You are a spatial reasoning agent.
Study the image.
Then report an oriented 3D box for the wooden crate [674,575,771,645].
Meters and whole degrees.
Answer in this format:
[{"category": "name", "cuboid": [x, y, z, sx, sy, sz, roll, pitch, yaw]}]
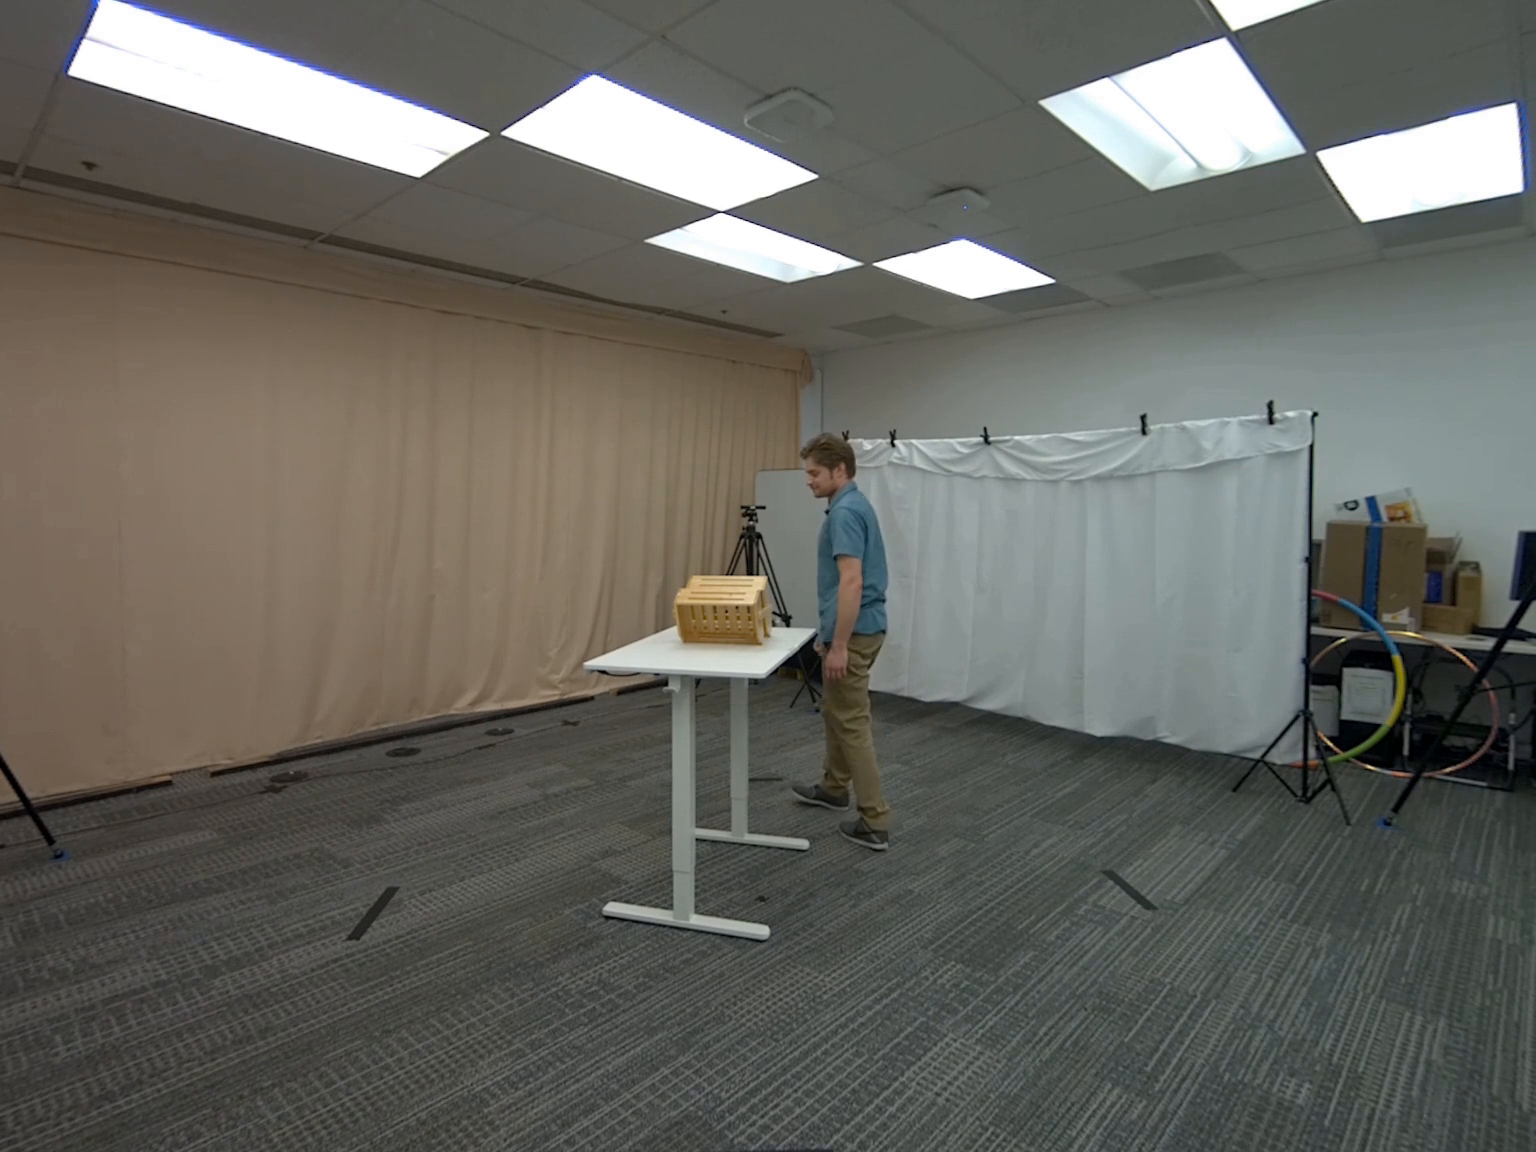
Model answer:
[{"category": "wooden crate", "cuboid": [-0.162, 0.158, 3.156, 0.329, 0.296, 0.275, 0, 30, 12]}]
